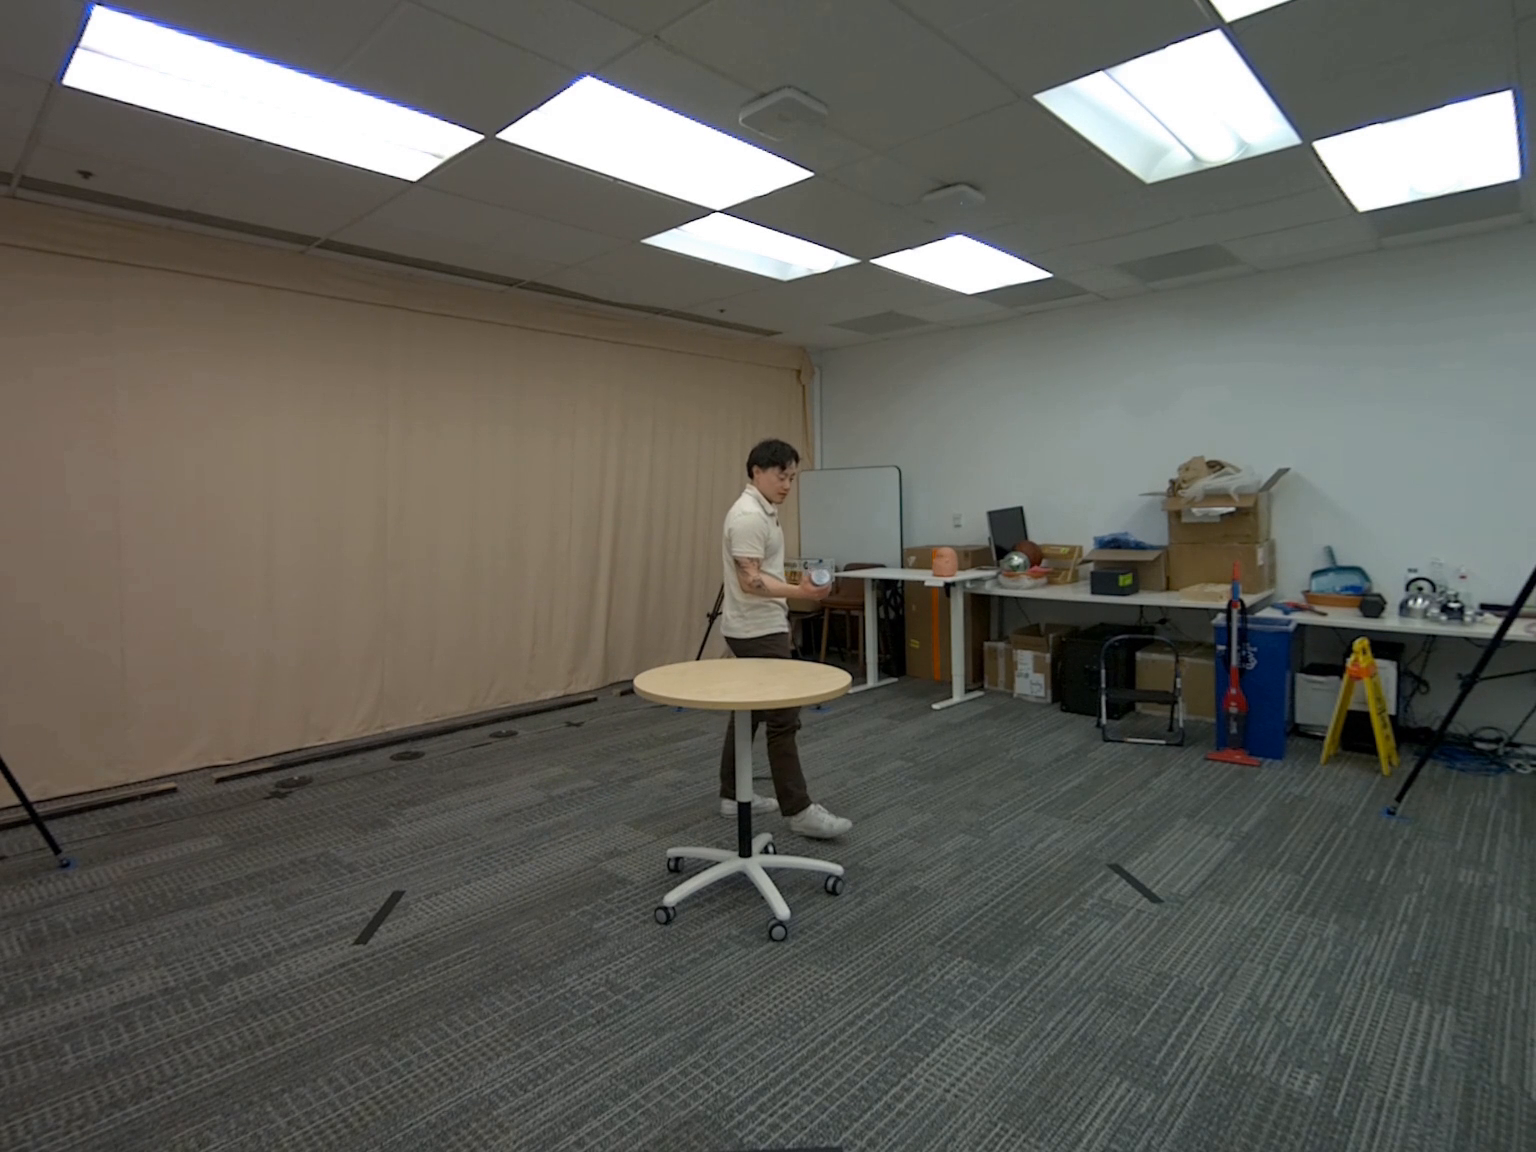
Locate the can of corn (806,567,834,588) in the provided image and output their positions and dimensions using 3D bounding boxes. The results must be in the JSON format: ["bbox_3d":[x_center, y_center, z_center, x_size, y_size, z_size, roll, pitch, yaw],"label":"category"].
[{"bbox_3d":[0.202,0.018,3.314,0.074,0.075,0.109,0,-21,0],"label":"can of corn"}]
